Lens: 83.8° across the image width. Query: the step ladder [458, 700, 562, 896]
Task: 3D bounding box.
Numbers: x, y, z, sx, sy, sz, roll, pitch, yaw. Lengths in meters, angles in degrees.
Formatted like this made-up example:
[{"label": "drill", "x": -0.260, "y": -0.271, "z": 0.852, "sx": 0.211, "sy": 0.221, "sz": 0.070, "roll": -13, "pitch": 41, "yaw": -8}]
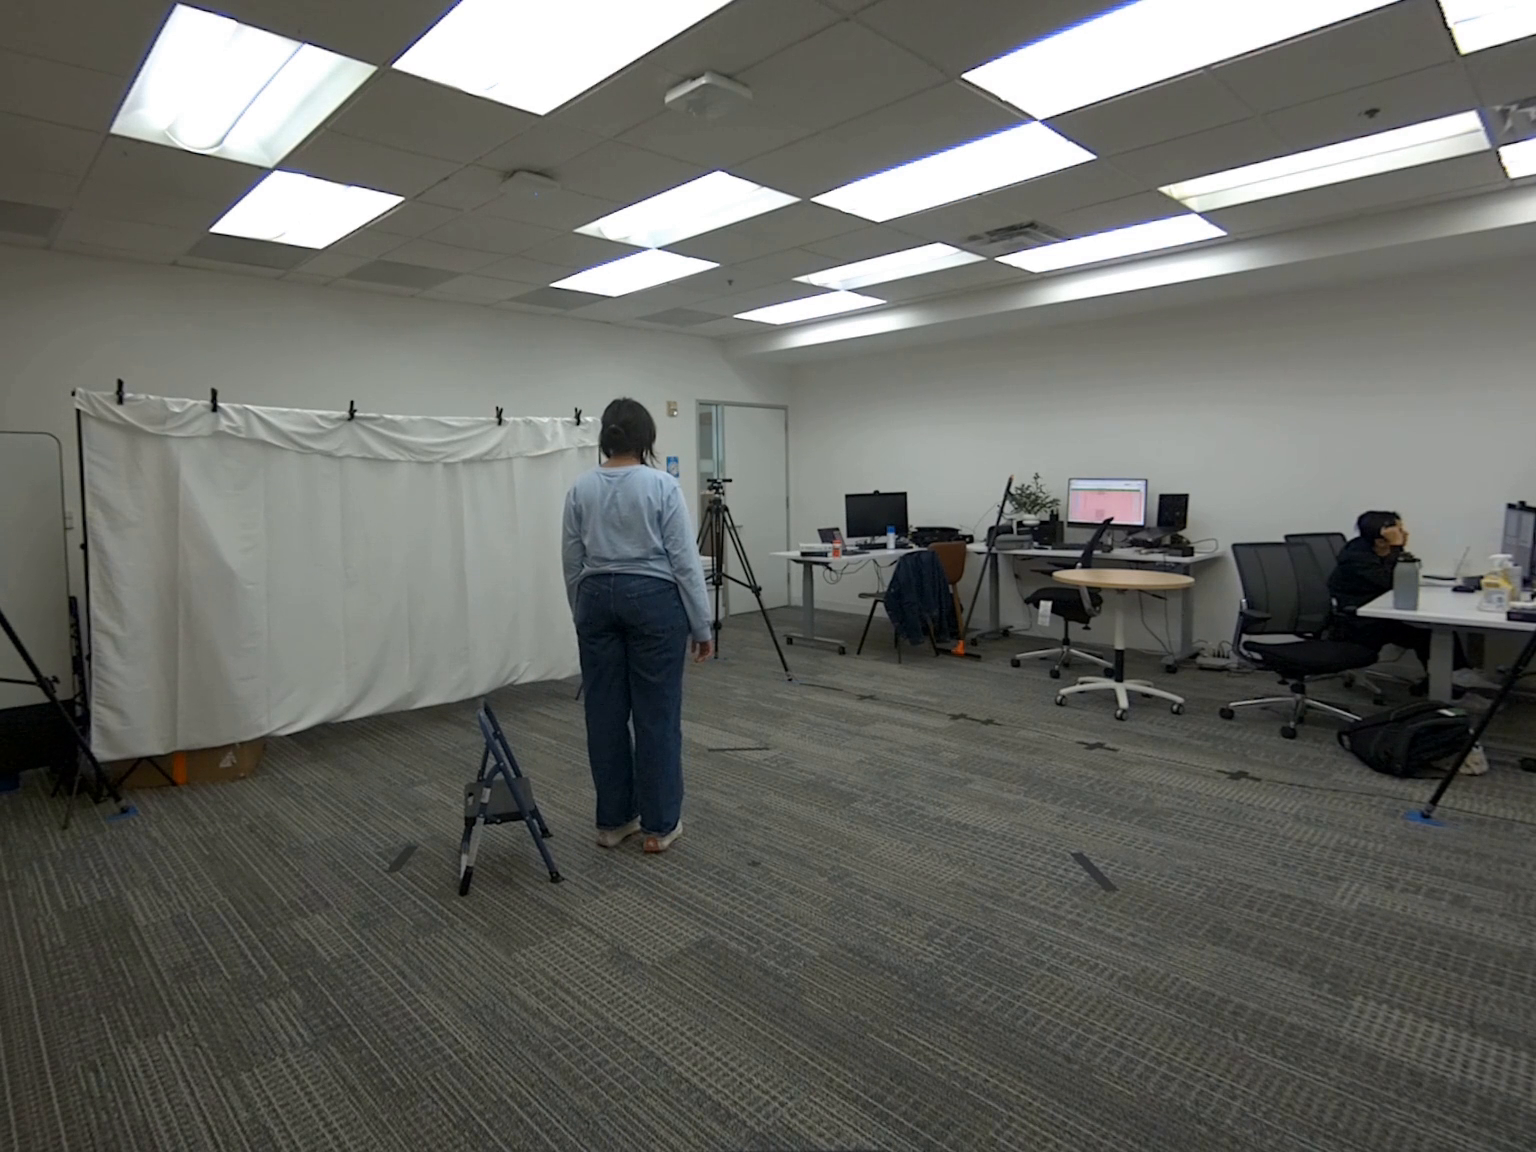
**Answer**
[{"label": "step ladder", "x": -0.956, "y": 0.762, "z": 3.129, "sx": 0.344, "sy": 0.604, "sz": 0.439, "roll": -3, "pitch": 5, "yaw": -18}]
